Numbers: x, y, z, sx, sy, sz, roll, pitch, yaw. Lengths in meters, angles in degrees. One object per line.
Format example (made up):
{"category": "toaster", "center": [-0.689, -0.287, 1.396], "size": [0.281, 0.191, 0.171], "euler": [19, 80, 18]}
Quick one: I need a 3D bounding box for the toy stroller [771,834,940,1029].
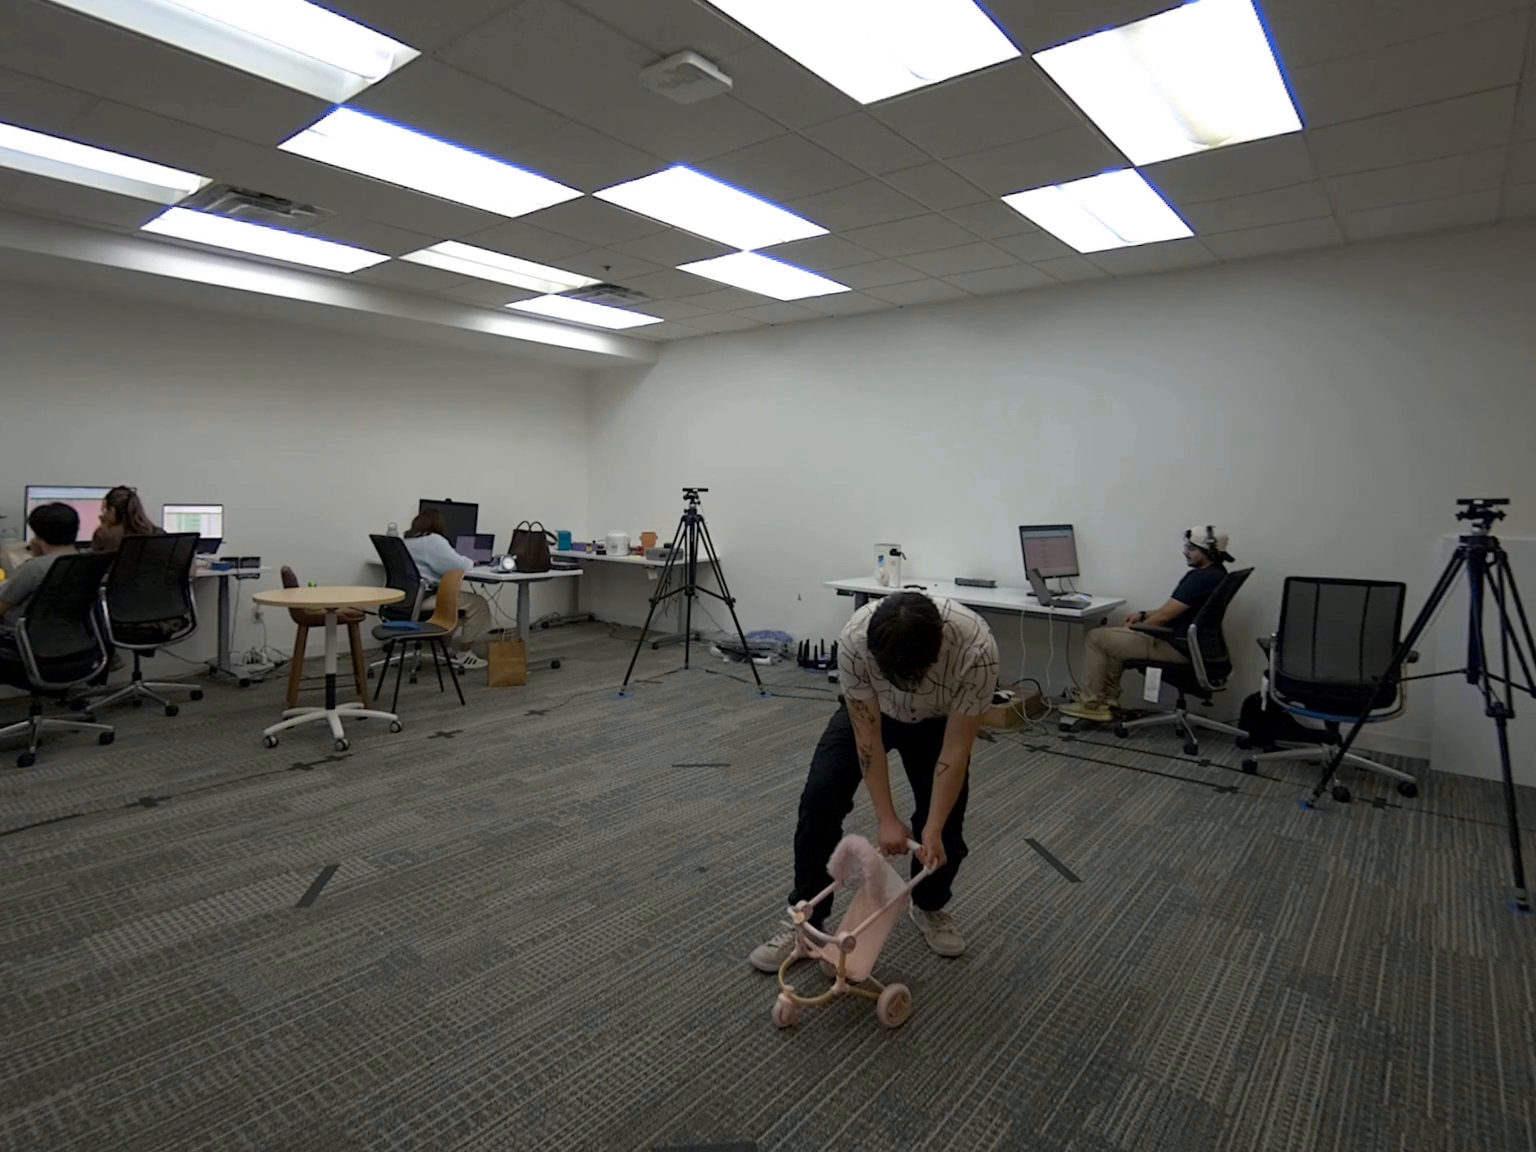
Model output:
{"category": "toy stroller", "center": [0.210, 0.938, 2.297], "size": [0.331, 0.537, 0.289], "euler": [21, -6, -26]}
